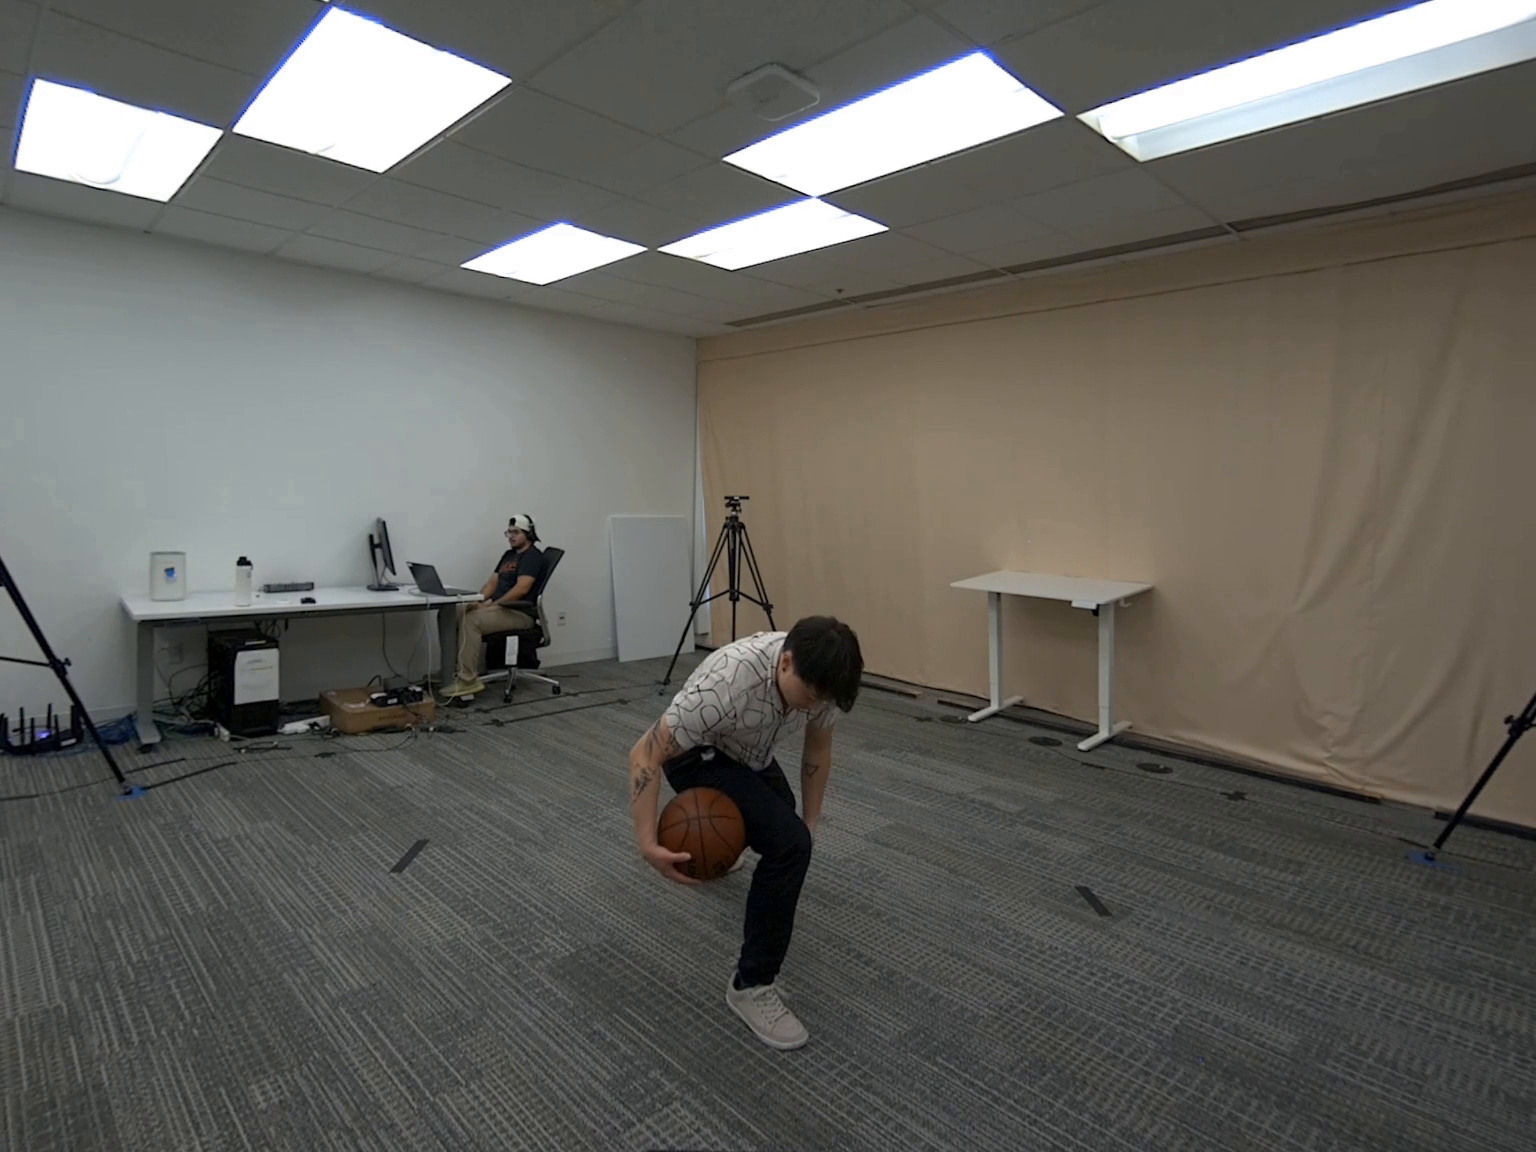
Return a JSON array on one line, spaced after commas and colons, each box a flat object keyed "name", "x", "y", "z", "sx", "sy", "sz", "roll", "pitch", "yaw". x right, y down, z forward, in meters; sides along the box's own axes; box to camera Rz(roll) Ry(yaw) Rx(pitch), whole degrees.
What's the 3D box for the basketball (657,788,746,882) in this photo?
[{"name": "basketball", "x": -0.192, "y": 0.691, "z": 2.252, "sx": 0.236, "sy": 0.235, "sz": 0.237, "roll": 1, "pitch": 4, "yaw": -1}]
